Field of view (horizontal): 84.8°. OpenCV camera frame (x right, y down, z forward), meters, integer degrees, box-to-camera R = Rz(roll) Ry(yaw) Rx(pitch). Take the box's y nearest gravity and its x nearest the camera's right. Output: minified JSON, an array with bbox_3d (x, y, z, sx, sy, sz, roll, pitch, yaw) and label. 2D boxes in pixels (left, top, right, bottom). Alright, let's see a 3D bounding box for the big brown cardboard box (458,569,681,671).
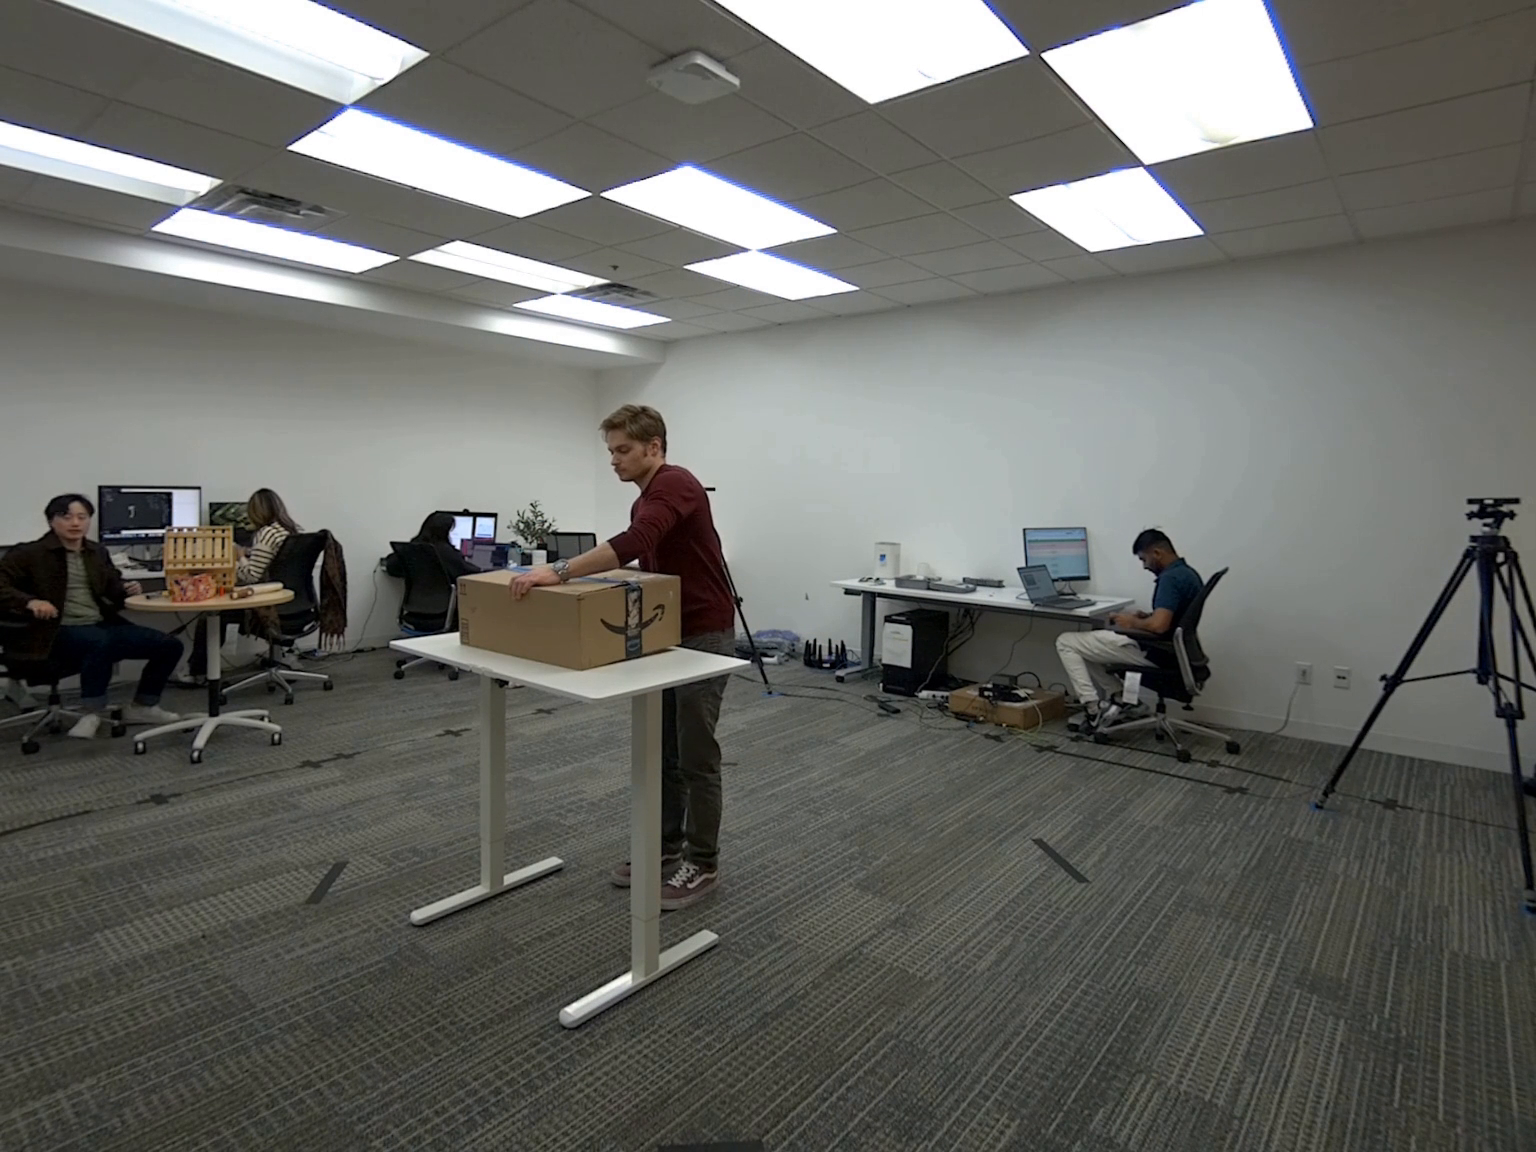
[{"bbox_3d":[-0.626,0.104,2.645,0.608,0.232,0.406,4,9,37],"label":"big brown cardboard box"}]
